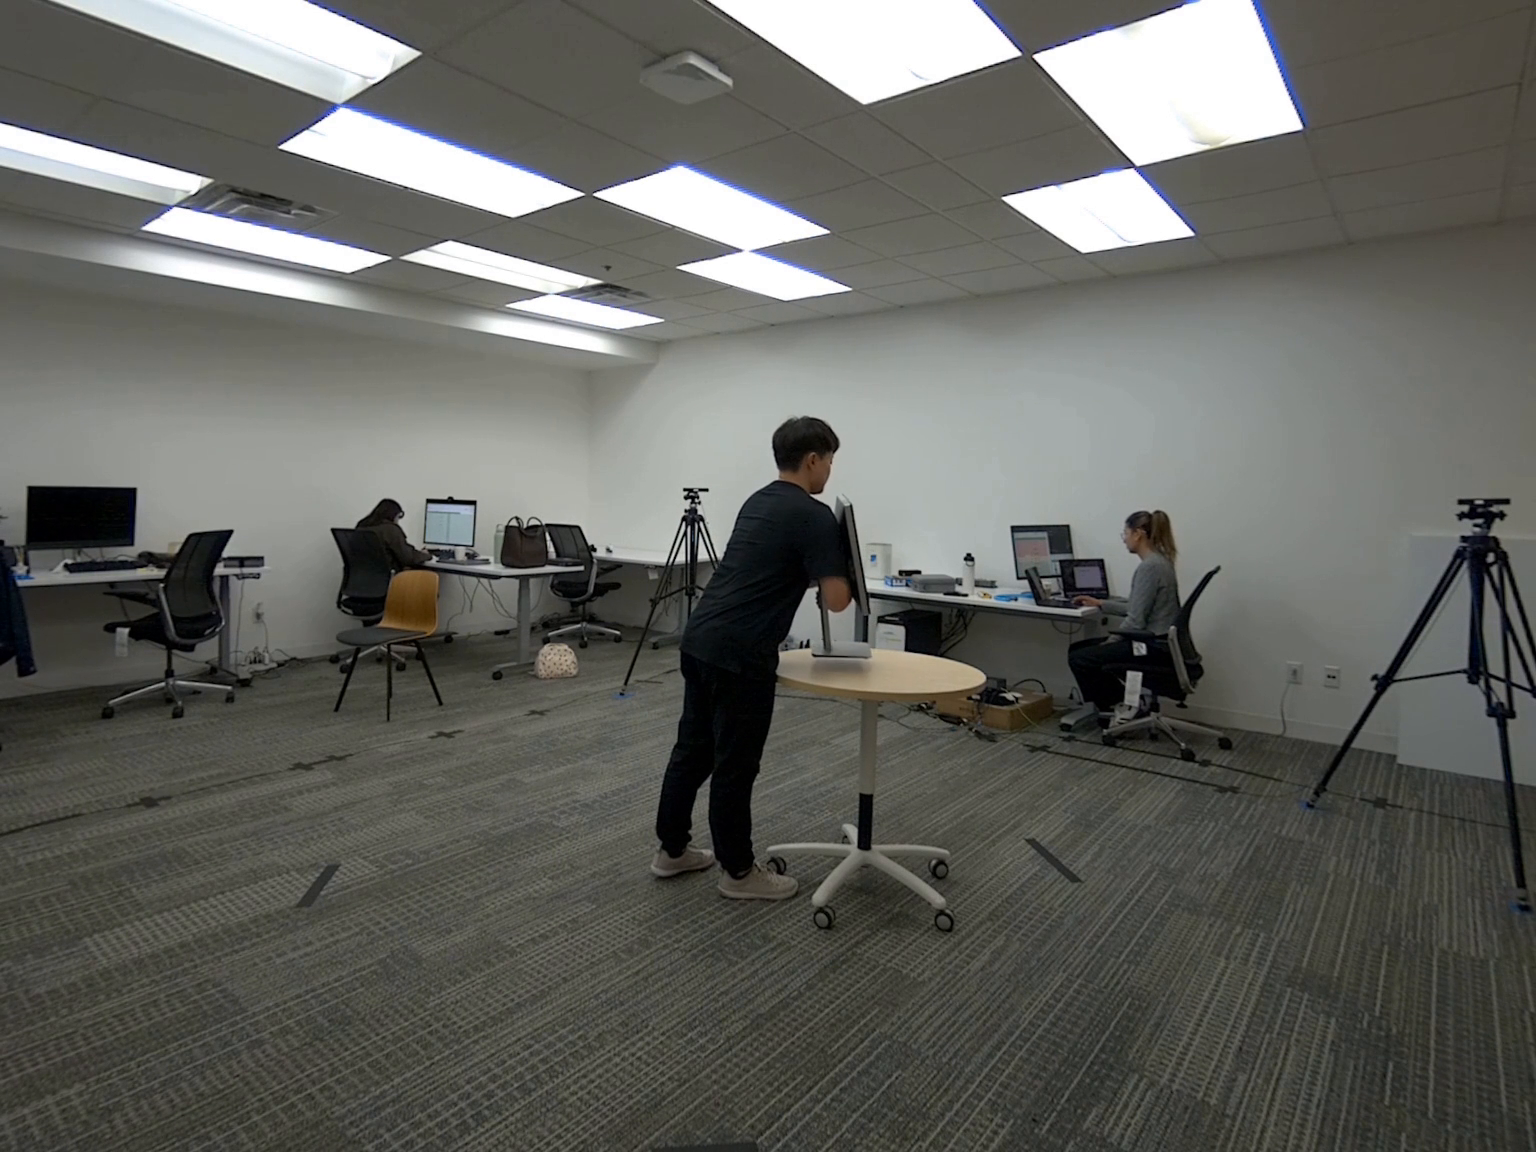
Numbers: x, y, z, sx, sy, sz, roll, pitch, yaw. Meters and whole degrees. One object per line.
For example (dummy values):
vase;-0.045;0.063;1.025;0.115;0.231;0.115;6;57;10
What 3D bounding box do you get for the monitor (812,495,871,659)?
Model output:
monitor;0.248;0.007;2.990;0.187;0.520;0.541;2;6;1
